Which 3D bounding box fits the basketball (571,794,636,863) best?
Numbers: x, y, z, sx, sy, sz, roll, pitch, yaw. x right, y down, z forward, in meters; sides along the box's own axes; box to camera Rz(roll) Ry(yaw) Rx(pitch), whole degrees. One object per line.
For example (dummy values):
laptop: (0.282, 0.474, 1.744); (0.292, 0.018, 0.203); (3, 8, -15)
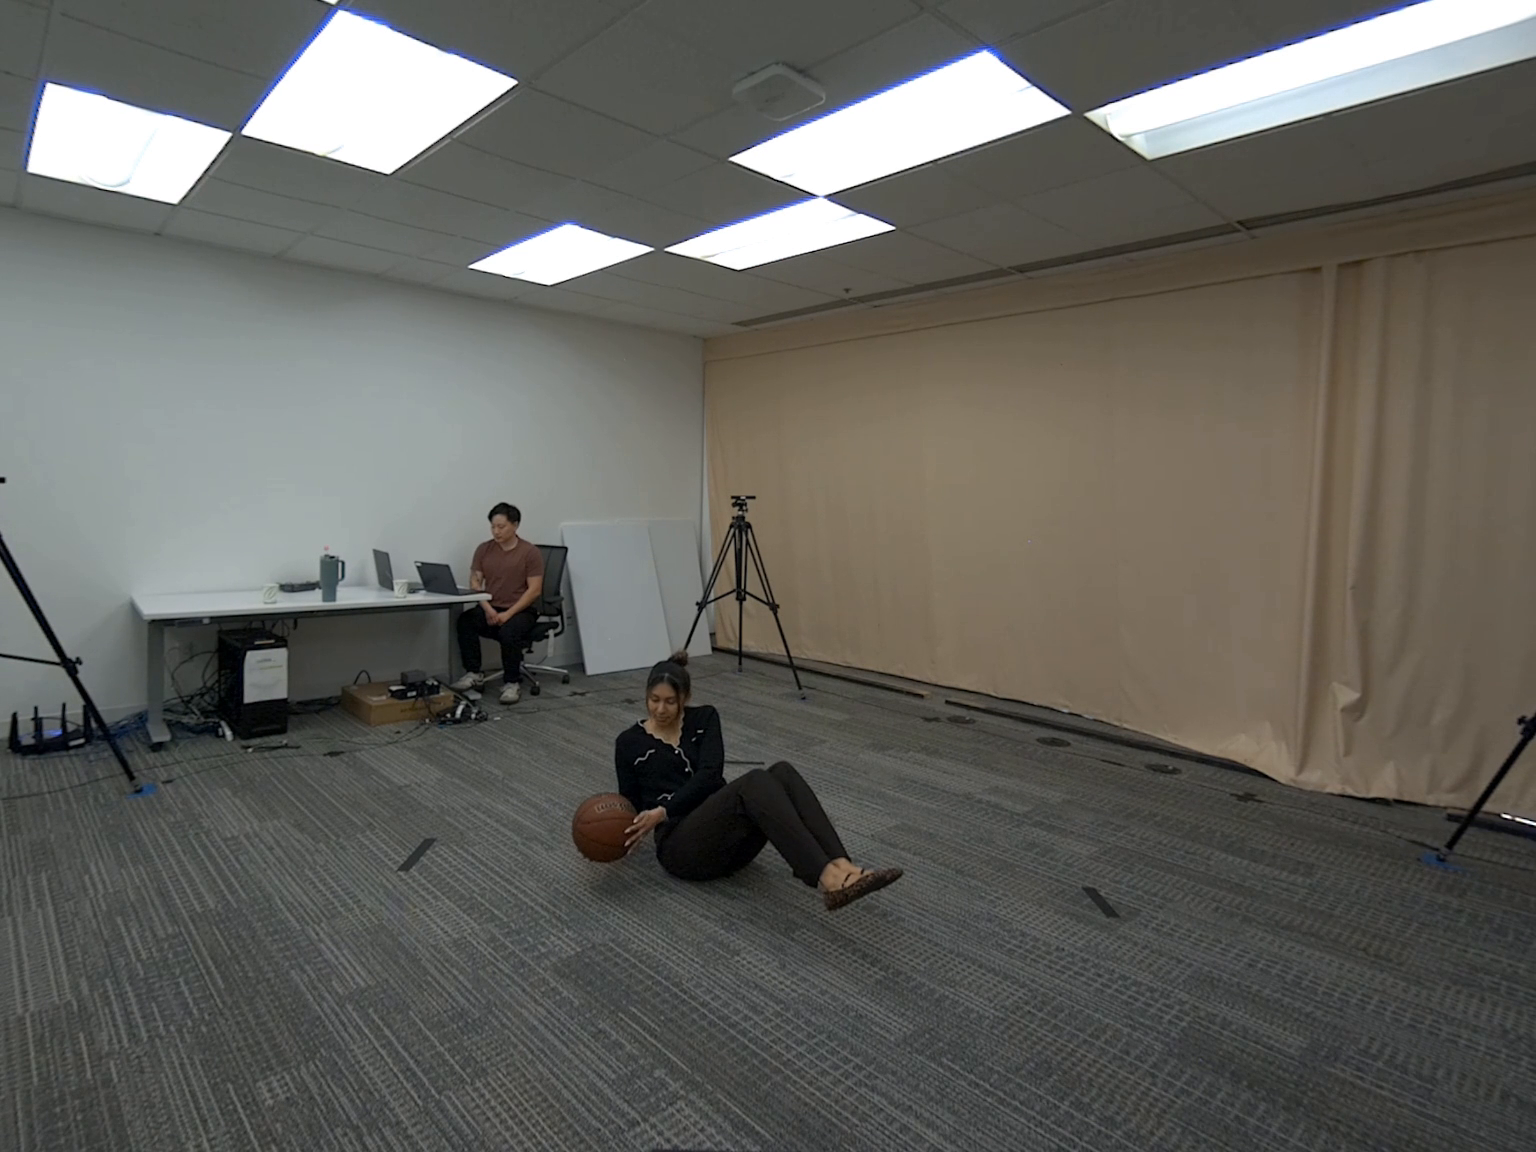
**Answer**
basketball: (-0.572, 0.865, 2.962); (0.236, 0.235, 0.237); (1, 4, -1)
